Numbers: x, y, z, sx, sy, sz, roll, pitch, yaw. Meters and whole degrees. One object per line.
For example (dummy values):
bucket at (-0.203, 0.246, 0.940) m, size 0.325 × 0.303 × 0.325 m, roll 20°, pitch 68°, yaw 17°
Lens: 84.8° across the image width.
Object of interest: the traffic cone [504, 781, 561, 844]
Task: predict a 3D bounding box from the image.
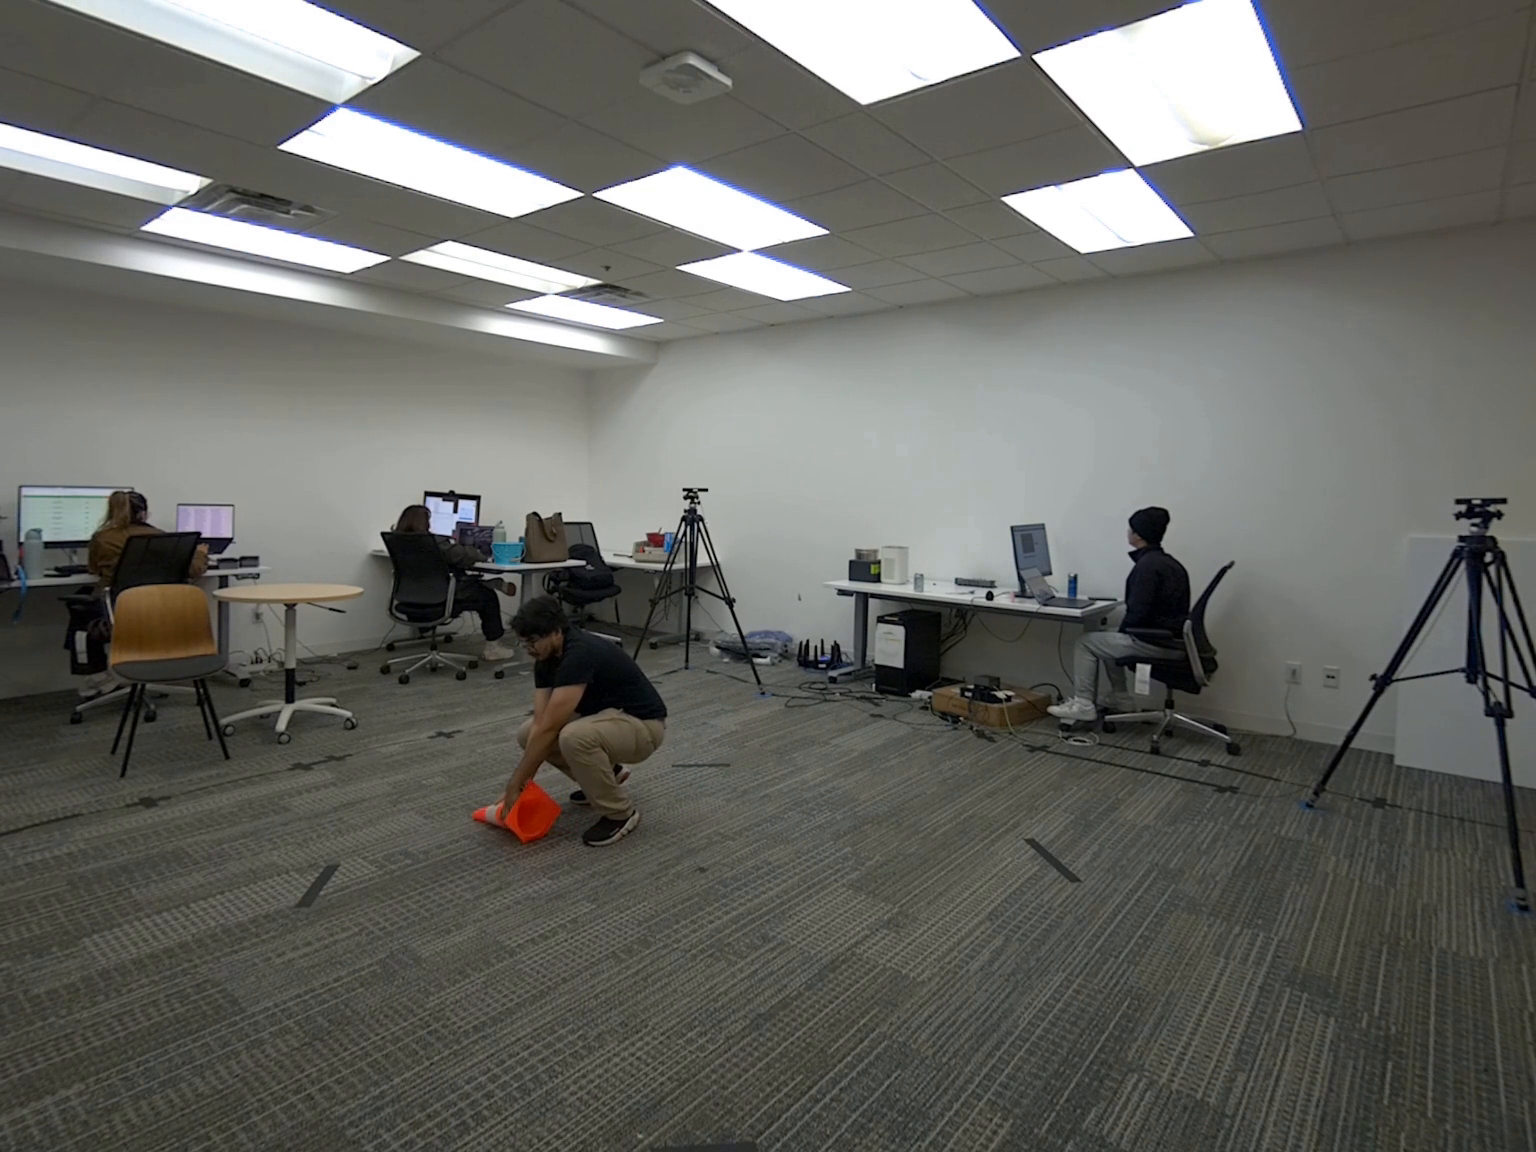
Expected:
traffic cone at (-1.087, 0.963, 3.455) m, size 0.393 × 0.198 × 0.205 m, roll -12°, pitch 37°, yaw 36°
